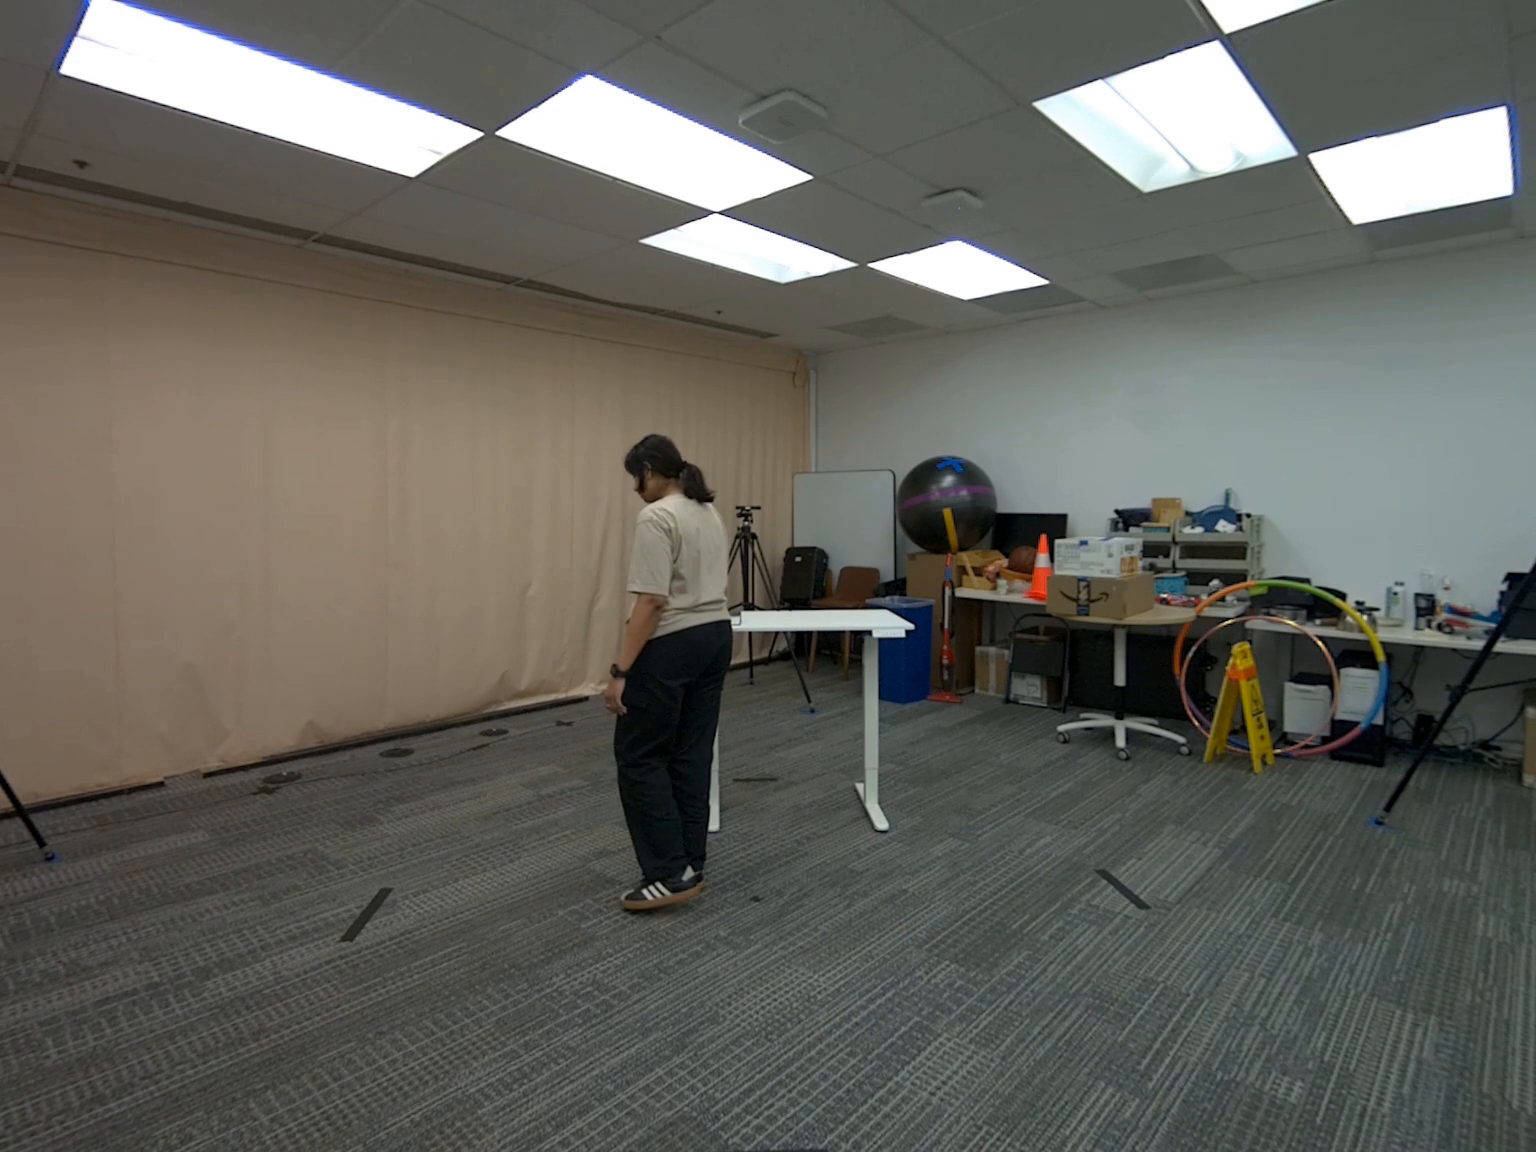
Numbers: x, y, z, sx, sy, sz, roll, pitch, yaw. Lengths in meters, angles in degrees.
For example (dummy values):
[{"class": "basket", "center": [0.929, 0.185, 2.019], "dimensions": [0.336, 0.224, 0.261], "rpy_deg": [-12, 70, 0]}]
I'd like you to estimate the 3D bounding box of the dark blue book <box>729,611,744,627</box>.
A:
[{"class": "dark blue book", "center": [-0.235, 0.186, 3.702], "dimensions": [0.246, 0.045, 0.163], "rpy_deg": [-1, 3, 3]}]
